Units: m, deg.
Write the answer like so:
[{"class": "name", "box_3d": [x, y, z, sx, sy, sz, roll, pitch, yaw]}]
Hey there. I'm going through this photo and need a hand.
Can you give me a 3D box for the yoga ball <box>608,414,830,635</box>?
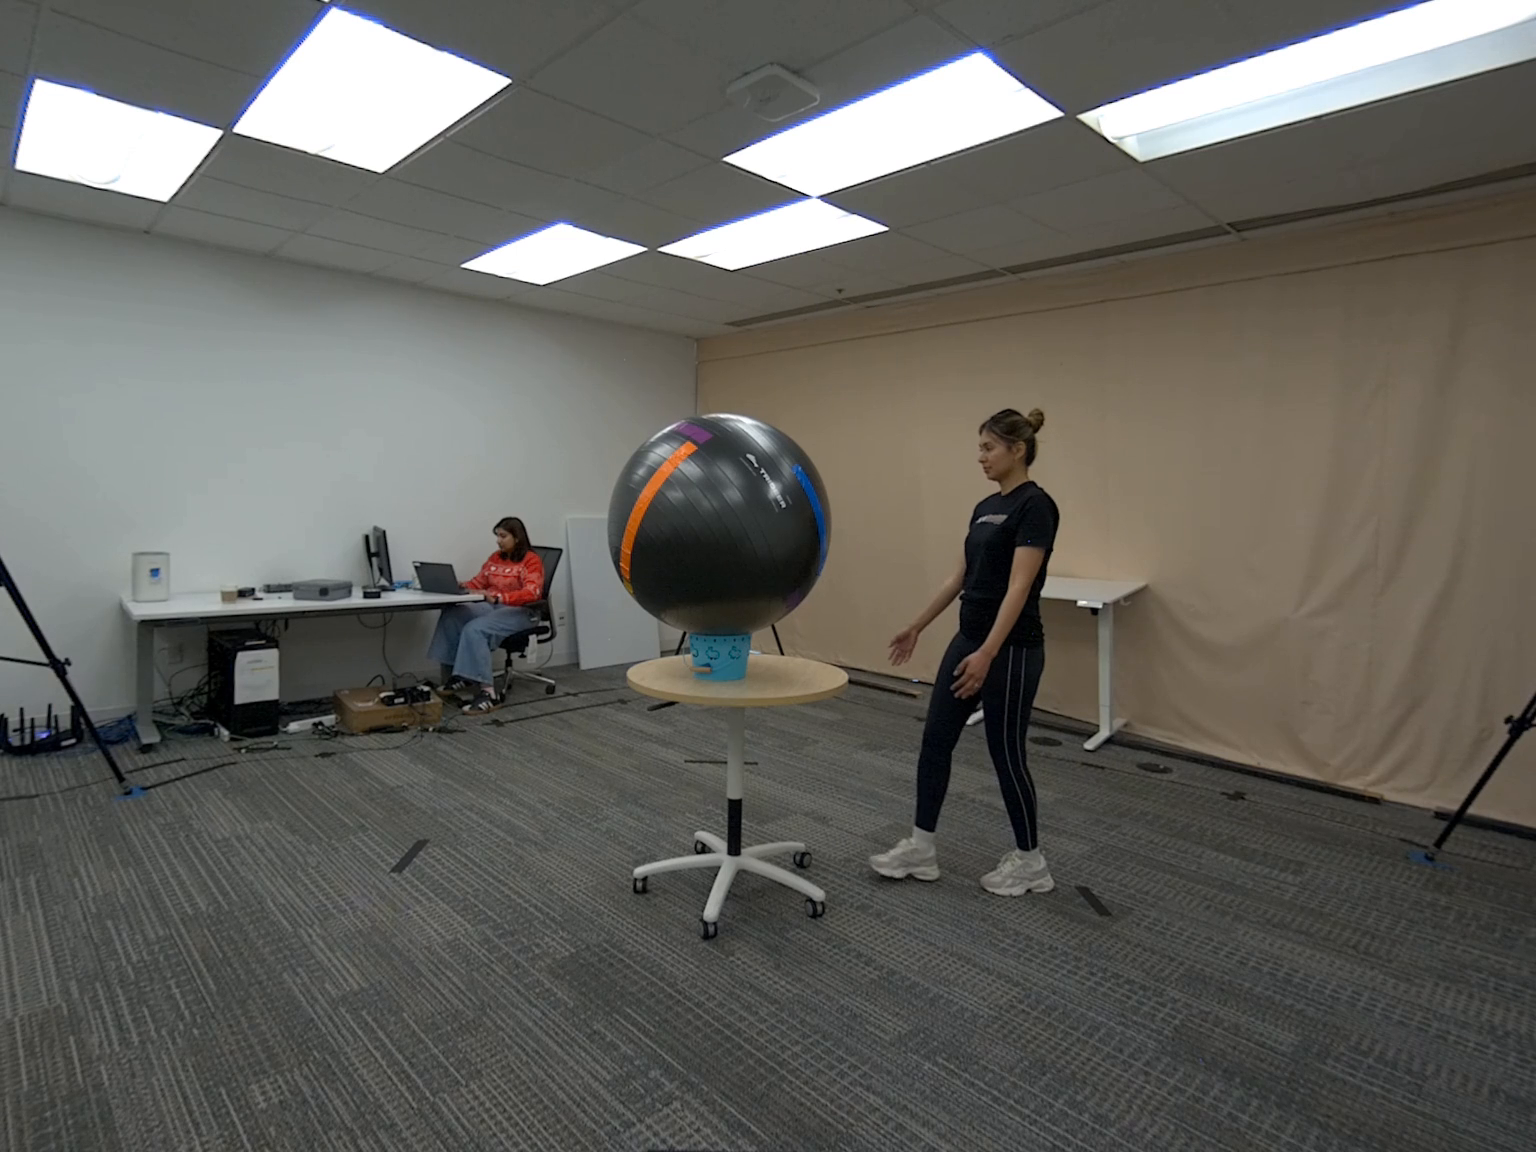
[{"class": "yoga ball", "box_3d": [-0.164, -0.162, 2.862, 0.757, 0.756, 0.761, 1, 4, -1]}]
